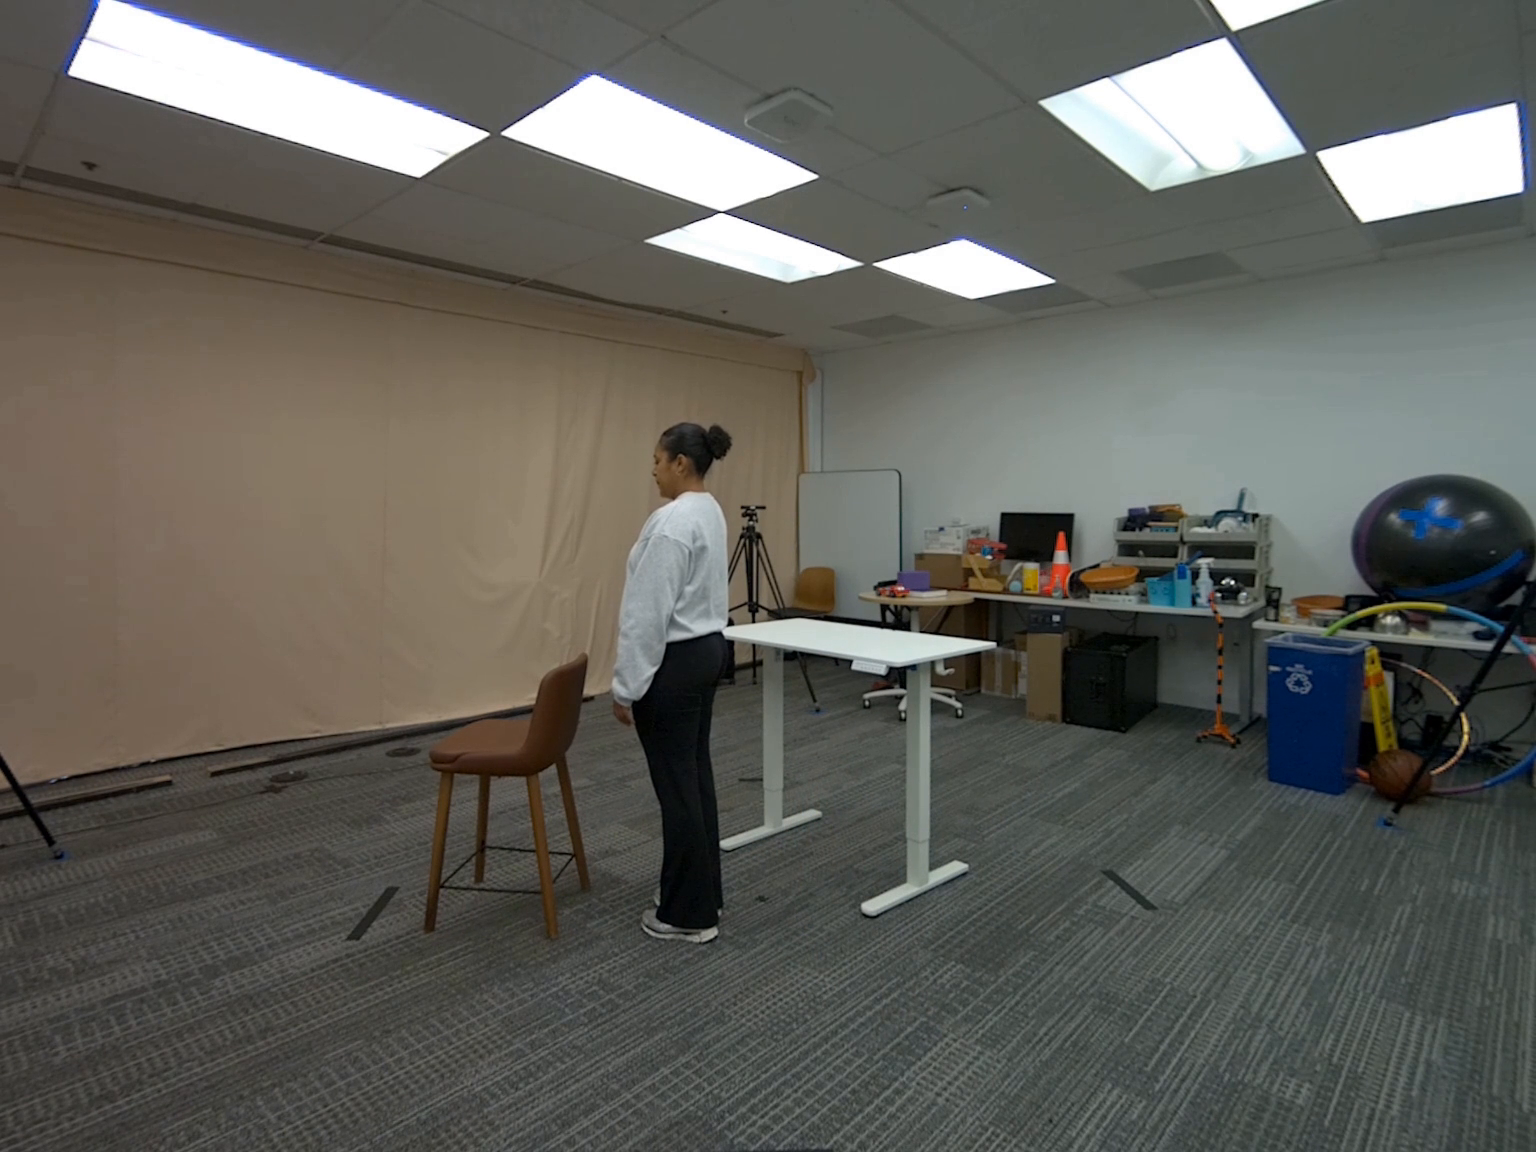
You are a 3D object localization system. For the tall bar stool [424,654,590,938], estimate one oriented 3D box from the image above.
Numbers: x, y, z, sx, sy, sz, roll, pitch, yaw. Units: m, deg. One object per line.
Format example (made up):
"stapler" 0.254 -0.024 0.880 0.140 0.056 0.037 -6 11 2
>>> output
"tall bar stool" -0.885 0.722 2.905 0.472 0.888 0.453 2 4 7
